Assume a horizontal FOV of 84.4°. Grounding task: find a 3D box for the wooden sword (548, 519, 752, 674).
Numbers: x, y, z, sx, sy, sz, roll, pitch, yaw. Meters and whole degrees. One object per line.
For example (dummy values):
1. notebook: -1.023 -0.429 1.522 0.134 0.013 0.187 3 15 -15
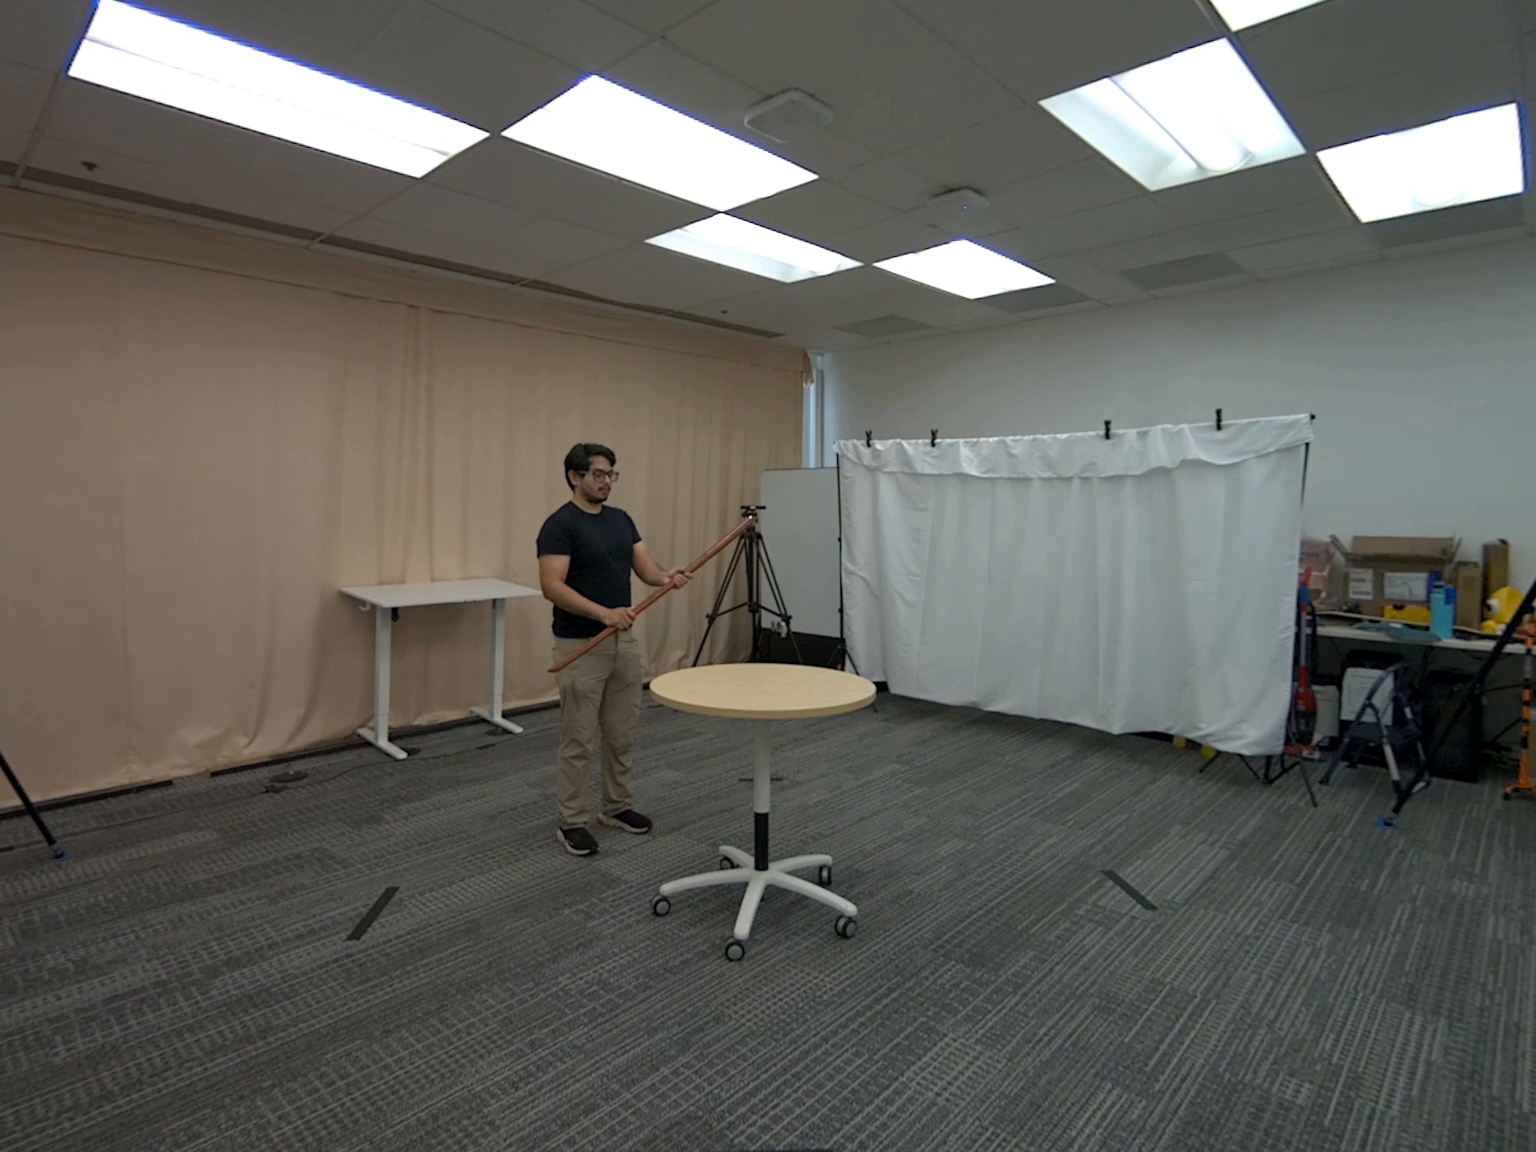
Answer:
1. wooden sword: -0.429 0.077 3.297 1.017 0.023 0.053 -39 49 -17
